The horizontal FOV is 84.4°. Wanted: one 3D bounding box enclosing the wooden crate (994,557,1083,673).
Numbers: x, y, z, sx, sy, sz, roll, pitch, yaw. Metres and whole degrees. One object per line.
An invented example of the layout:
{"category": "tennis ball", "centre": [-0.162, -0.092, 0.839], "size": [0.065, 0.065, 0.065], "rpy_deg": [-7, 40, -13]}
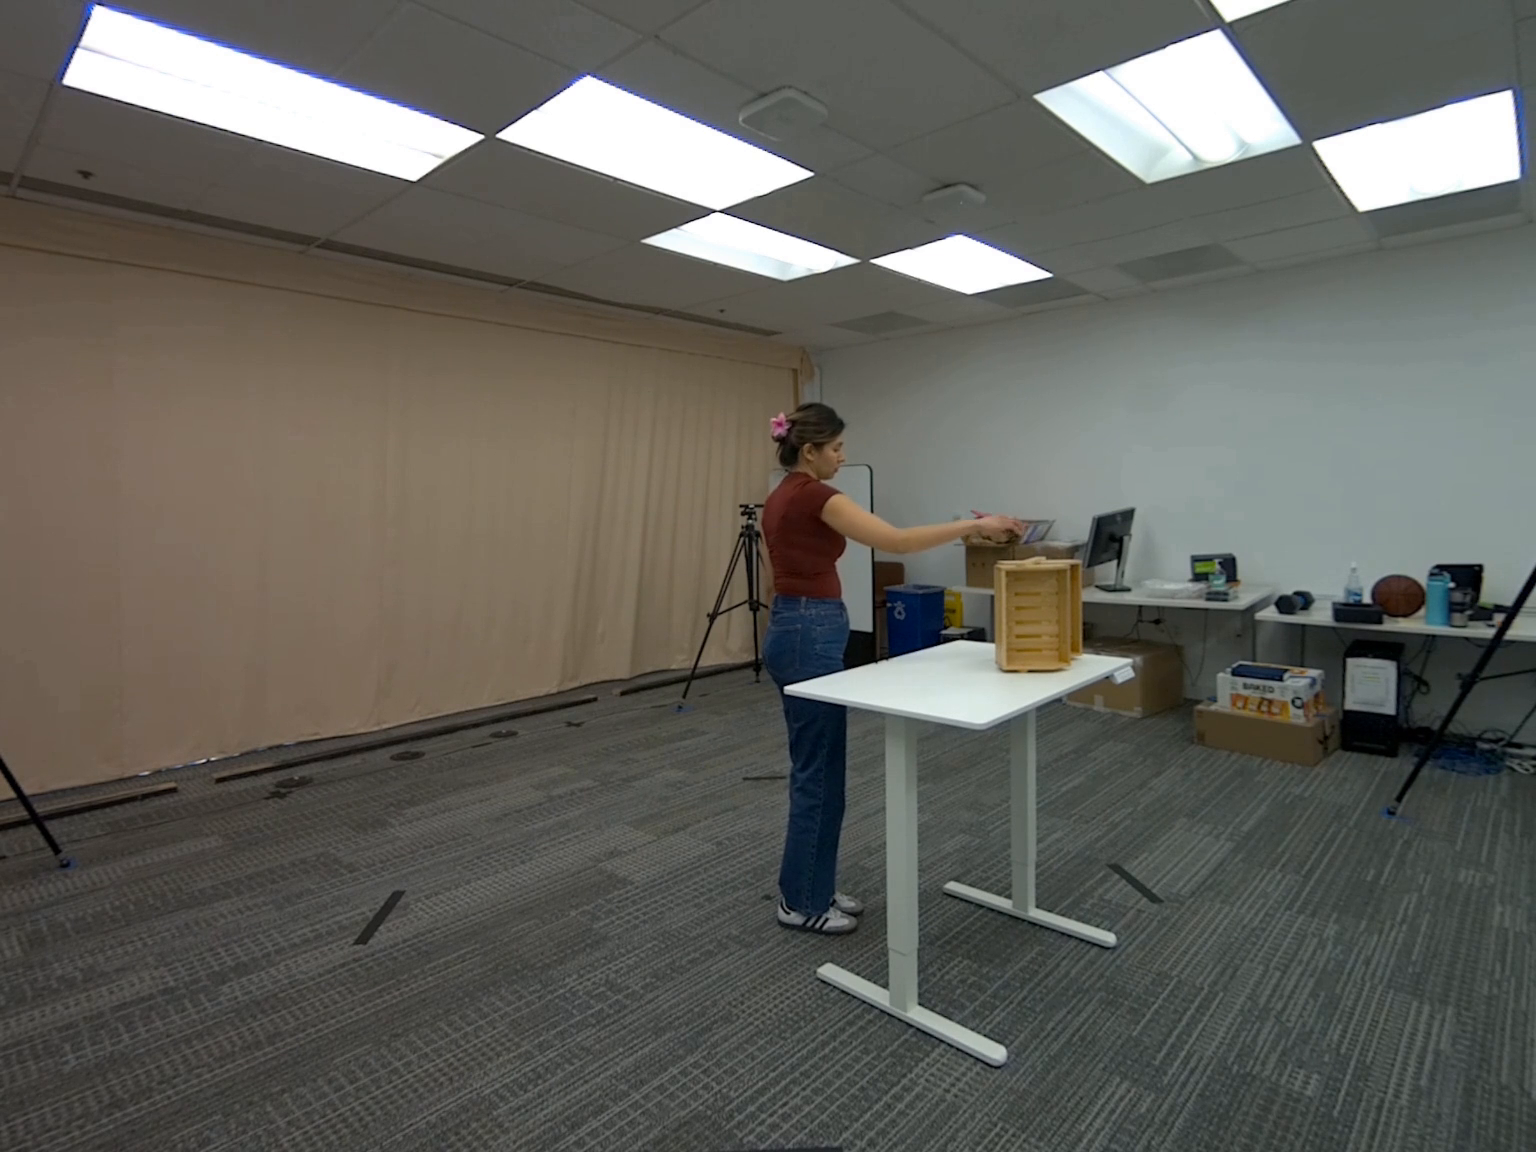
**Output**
{"category": "wooden crate", "centre": [0.852, 0.114, 2.575], "size": [0.303, 0.324, 0.273], "rpy_deg": [-3, 4, 1]}
